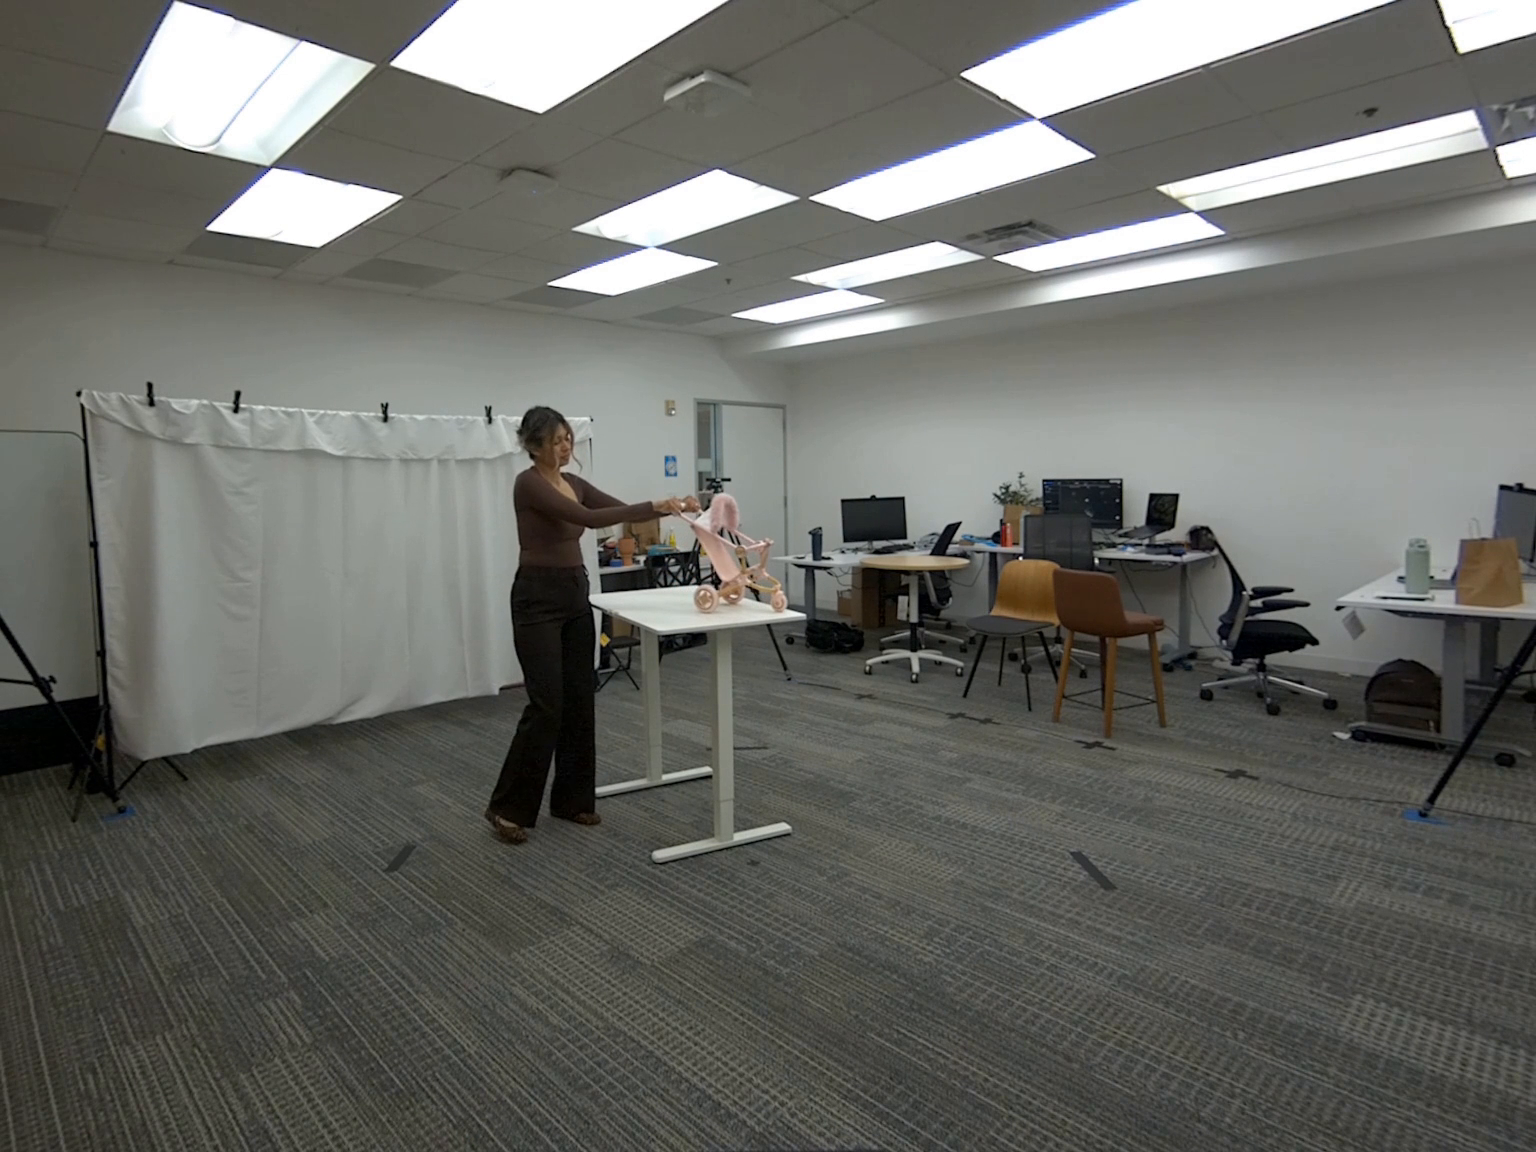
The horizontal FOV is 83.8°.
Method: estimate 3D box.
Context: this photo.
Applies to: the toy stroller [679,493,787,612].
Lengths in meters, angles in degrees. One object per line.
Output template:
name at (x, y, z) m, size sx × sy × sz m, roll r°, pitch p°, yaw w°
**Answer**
toy stroller at (-0.141, -0.090, 3.359) m, size 0.347 × 0.537 × 0.276 m, roll -18°, pitch -3°, yaw 28°
